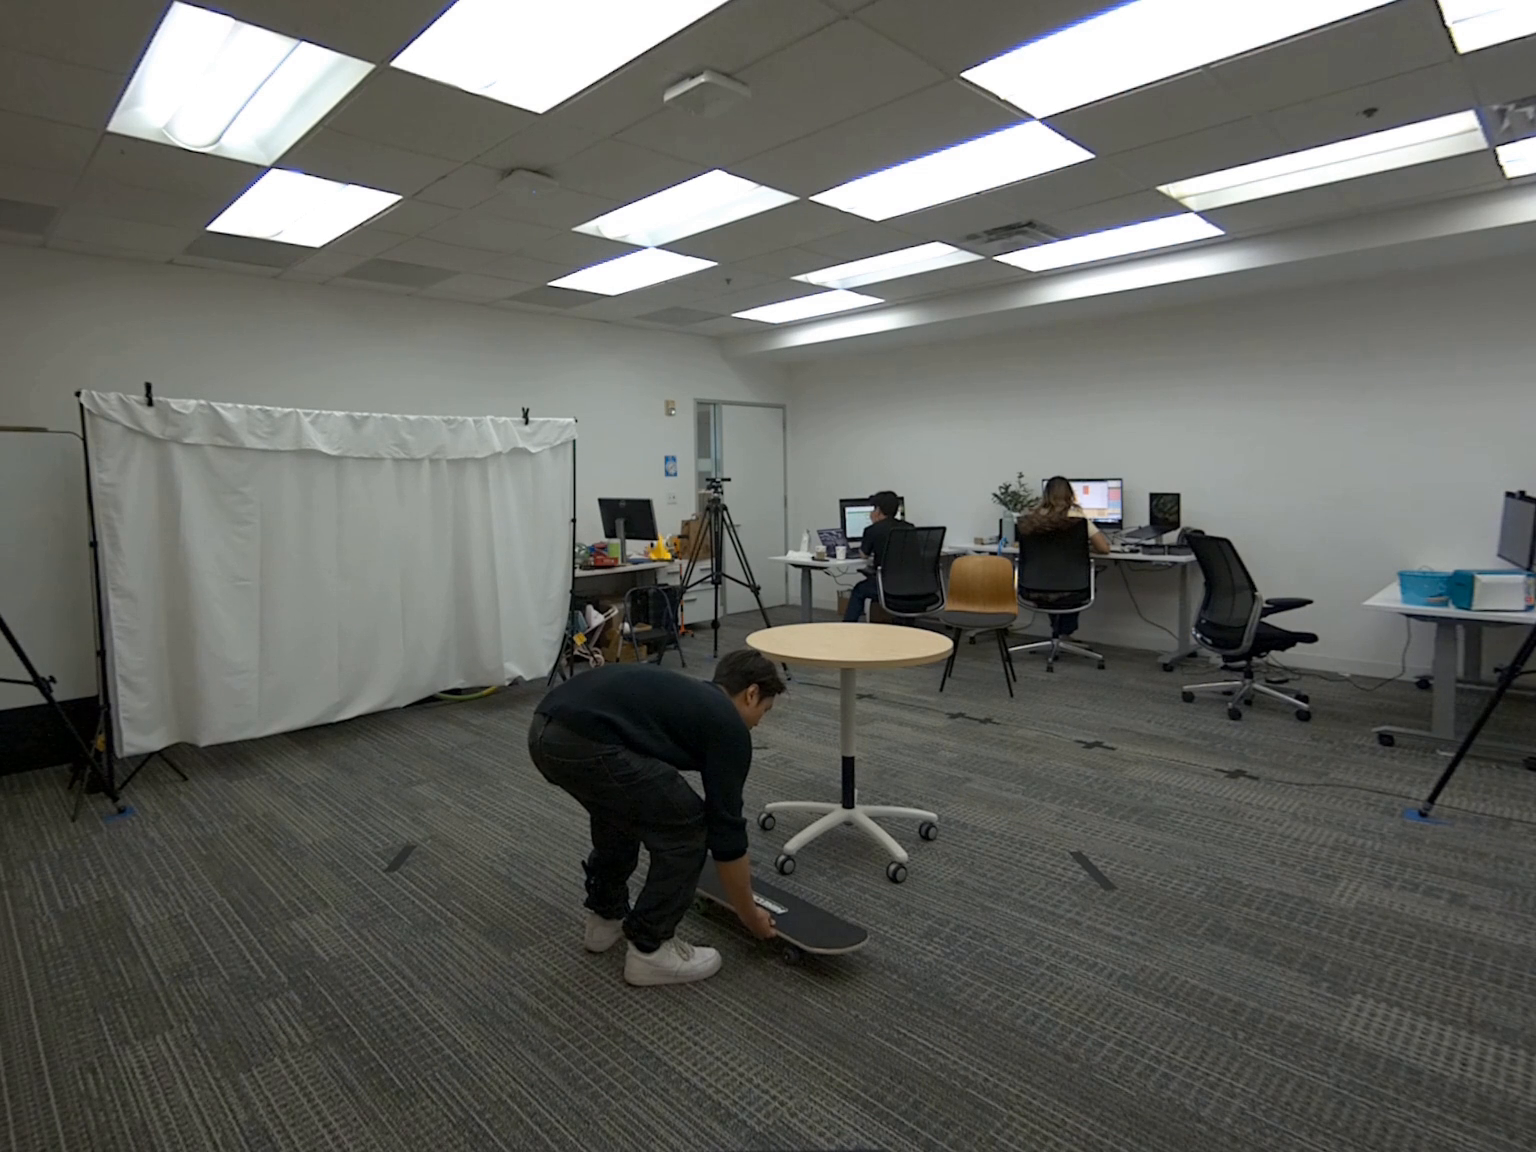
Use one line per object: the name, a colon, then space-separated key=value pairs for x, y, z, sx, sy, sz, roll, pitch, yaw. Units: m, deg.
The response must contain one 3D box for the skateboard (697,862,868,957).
skateboard: x=-0.011 y=1.042 z=2.646 sx=0.188 sy=0.110 sz=0.810 roll=-6 pitch=8 yaw=-43
